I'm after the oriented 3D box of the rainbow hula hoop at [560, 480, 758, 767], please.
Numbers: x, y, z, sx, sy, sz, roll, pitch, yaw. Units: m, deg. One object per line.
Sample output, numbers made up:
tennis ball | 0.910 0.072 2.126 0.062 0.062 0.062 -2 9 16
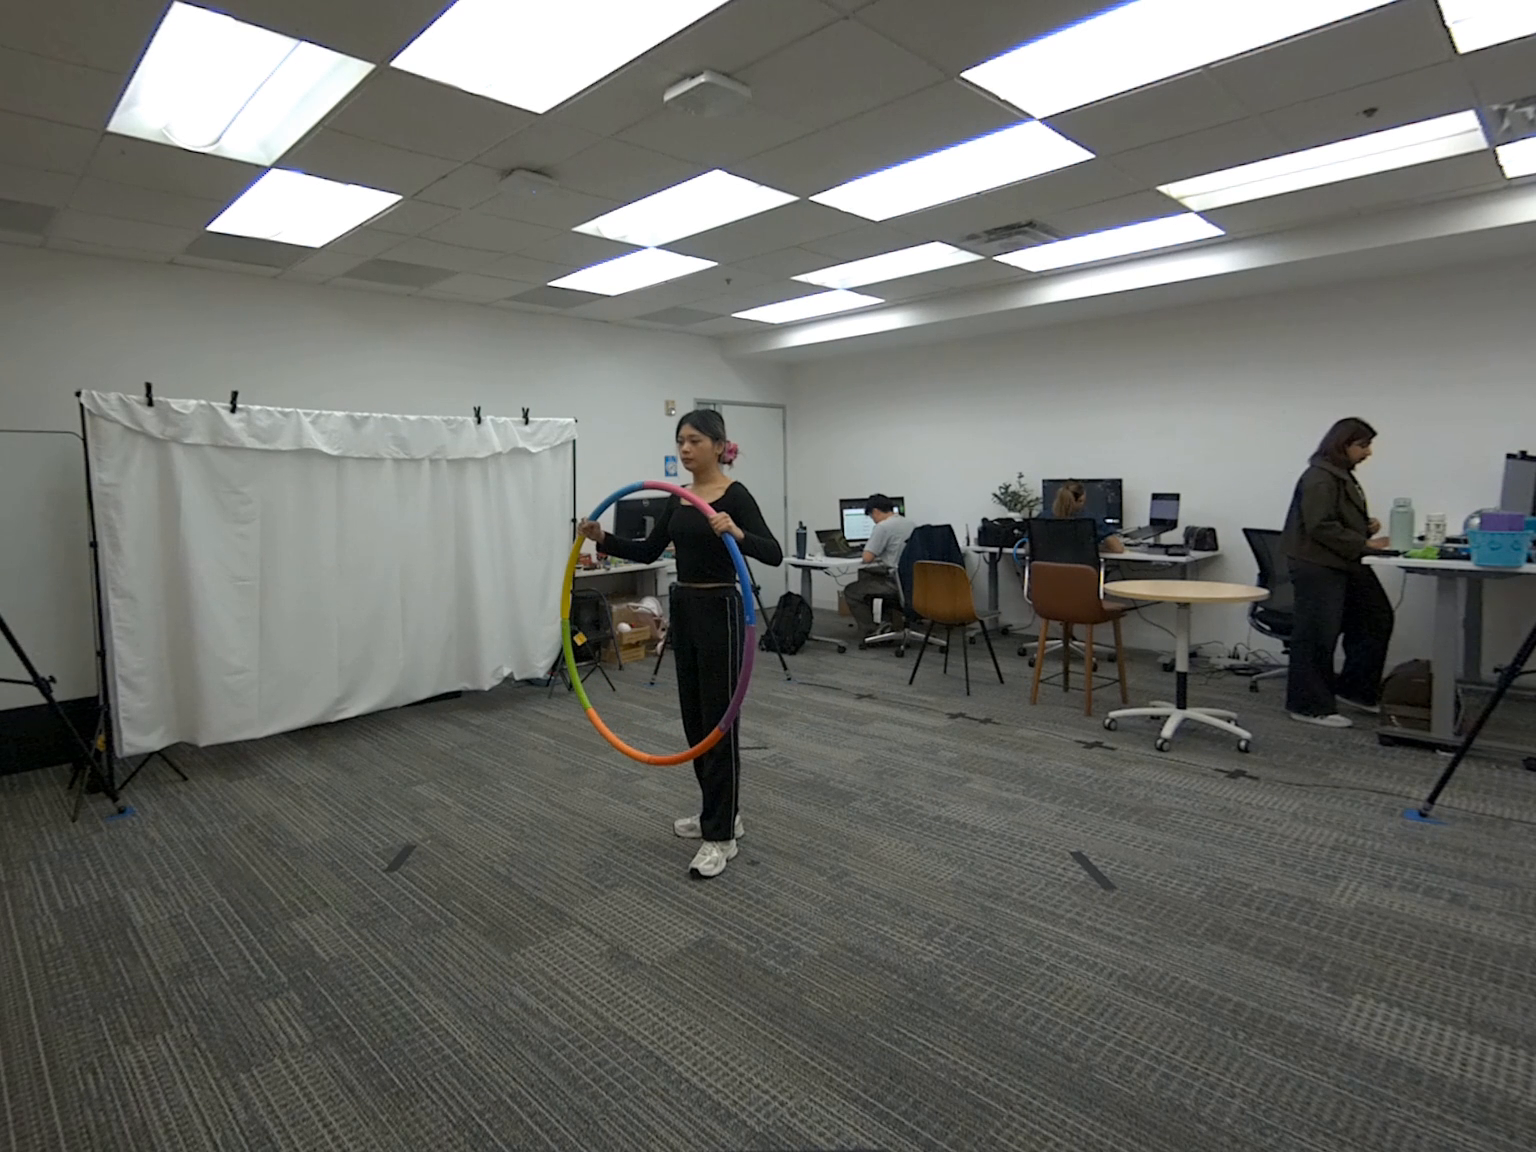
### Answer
rainbow hula hoop | -0.417 0.157 3.022 1.008 0.978 0.034 3 1 42
